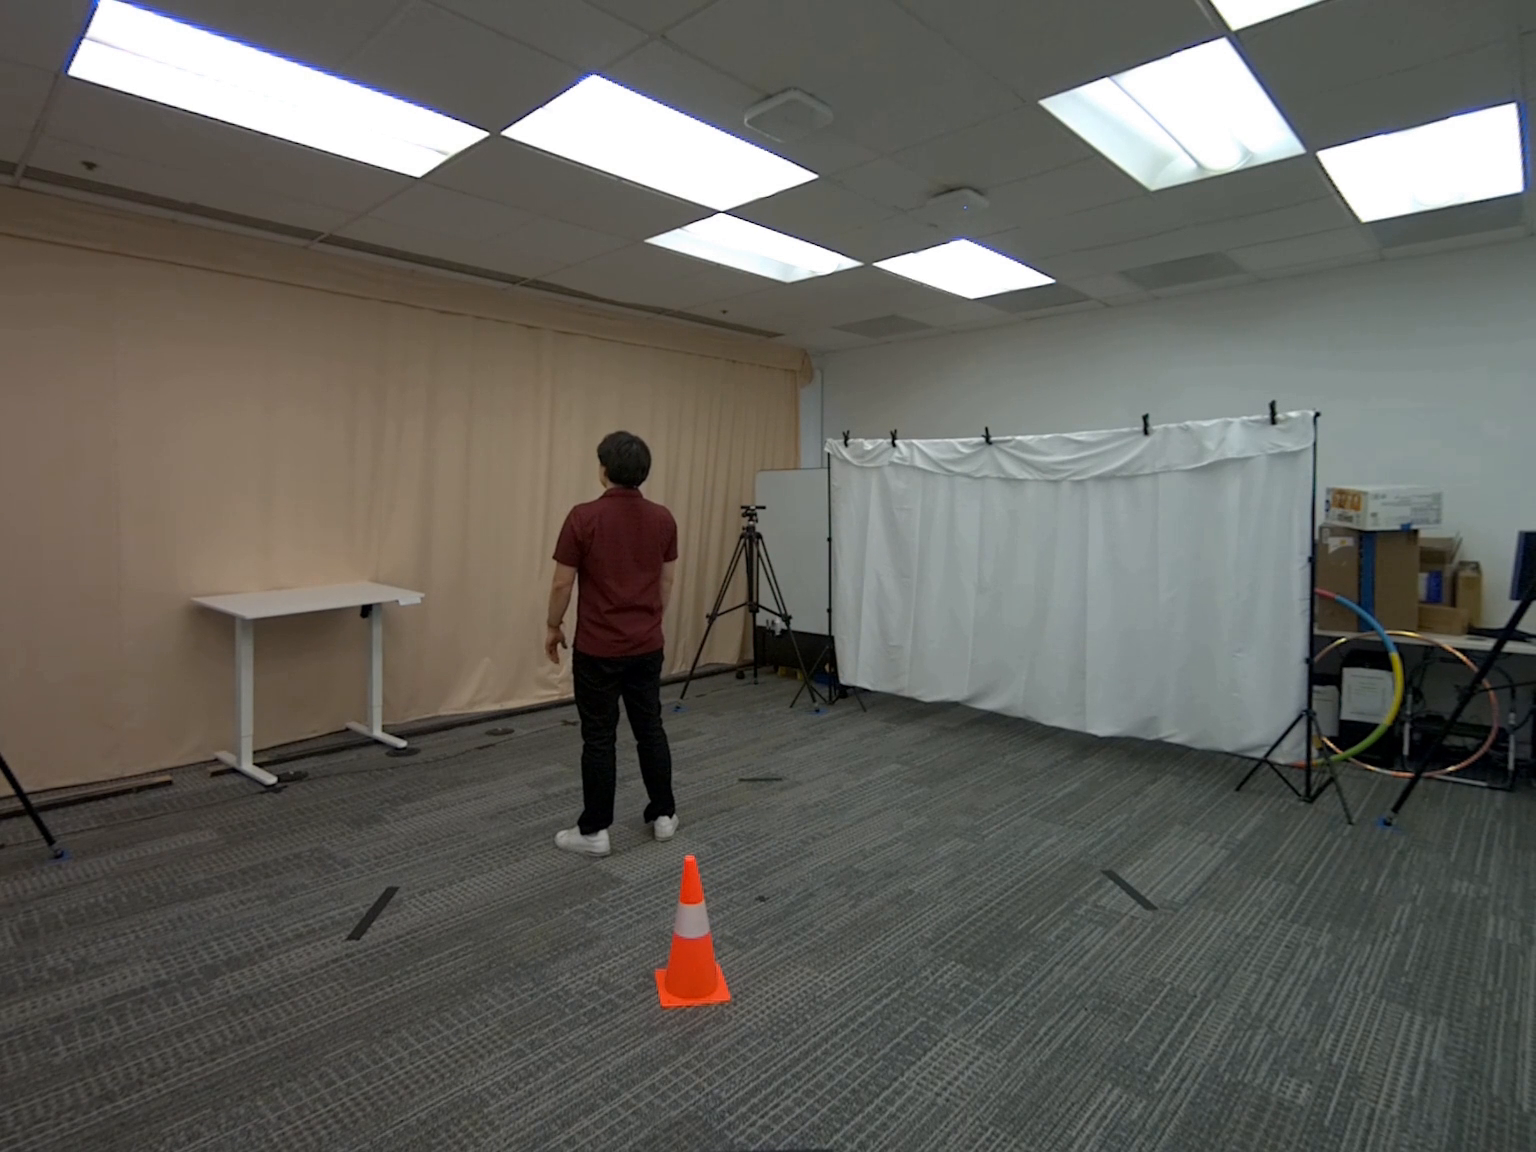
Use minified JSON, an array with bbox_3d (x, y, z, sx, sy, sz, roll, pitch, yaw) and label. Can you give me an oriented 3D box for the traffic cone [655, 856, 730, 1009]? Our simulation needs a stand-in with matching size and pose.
[{"bbox_3d":[-0.216,1.004,2.437,0.200,0.383,0.208,0,2,-14],"label":"traffic cone"}]
